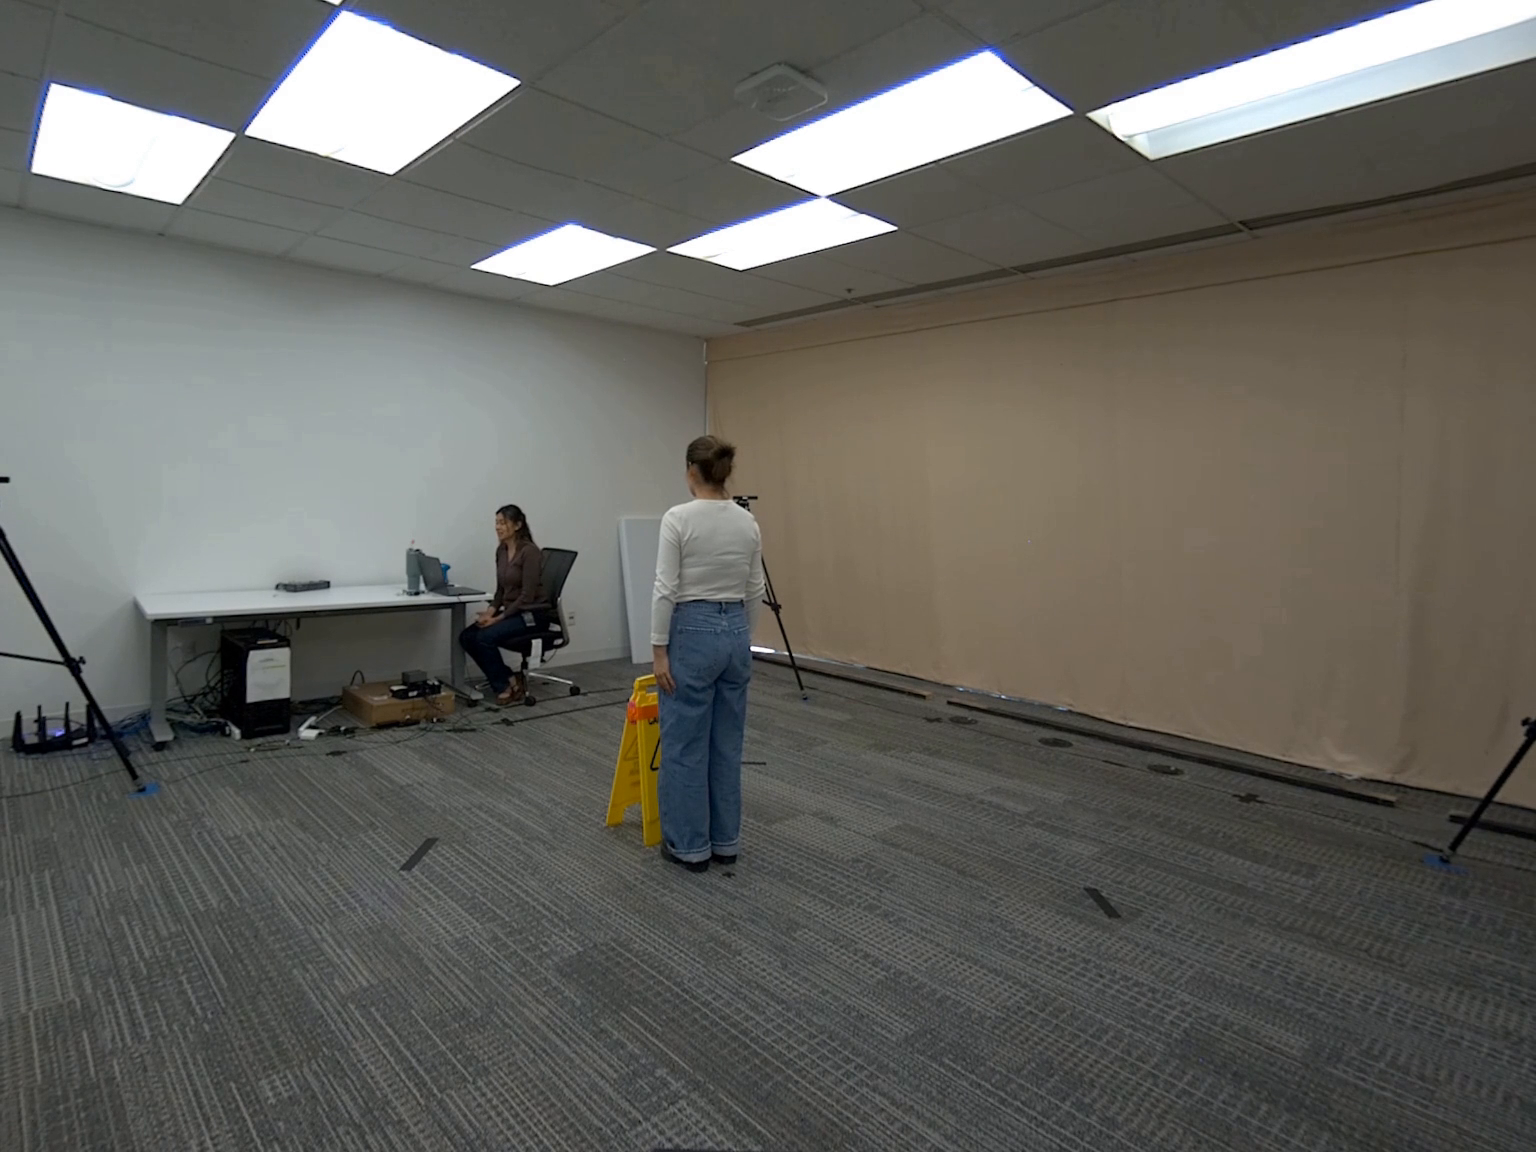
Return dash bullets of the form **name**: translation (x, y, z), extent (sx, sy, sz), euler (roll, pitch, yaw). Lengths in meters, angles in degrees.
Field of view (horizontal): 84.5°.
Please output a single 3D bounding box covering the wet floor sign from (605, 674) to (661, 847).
- **wet floor sign**: translation (-0.485, 0.734, 3.511), extent (0.275, 0.645, 0.297), euler (0, 2, -44)
